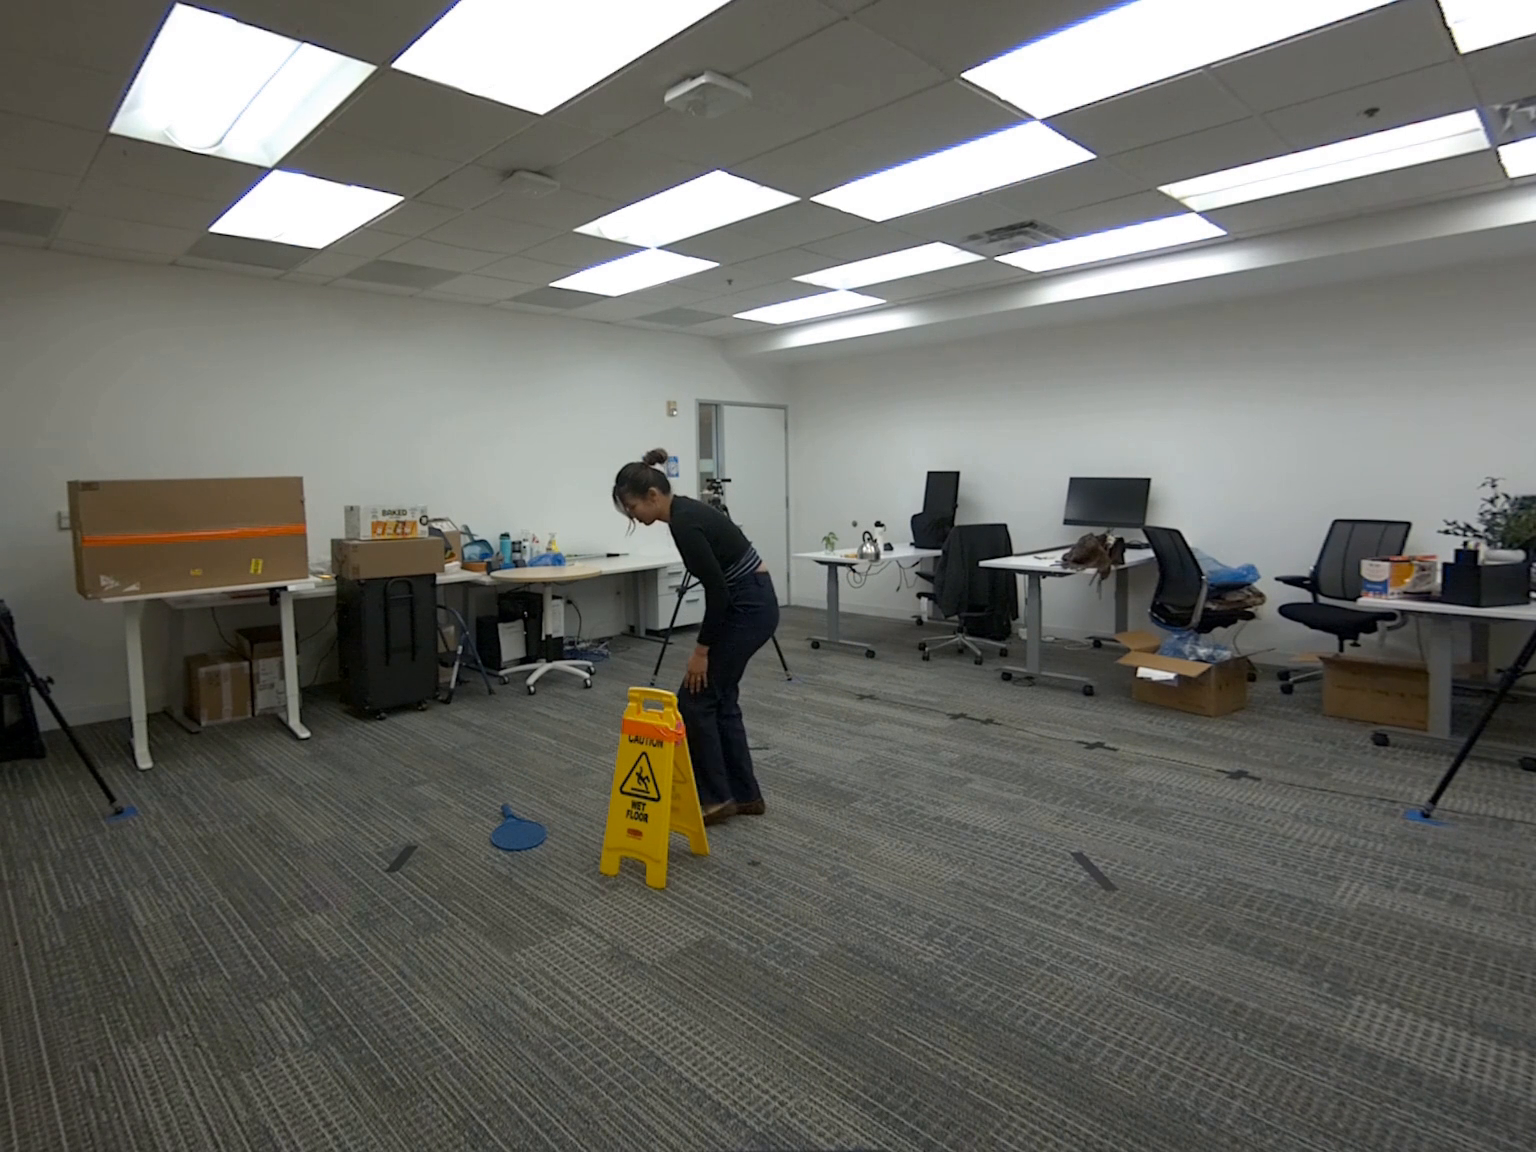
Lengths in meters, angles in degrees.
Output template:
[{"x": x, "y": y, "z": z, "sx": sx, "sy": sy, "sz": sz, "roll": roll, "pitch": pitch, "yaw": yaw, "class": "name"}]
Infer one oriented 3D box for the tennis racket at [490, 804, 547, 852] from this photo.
[{"x": -1.015, "y": 1.010, "z": 3.449, "sx": 0.209, "sy": 0.031, "sz": 0.444, "roll": -4, "pitch": 8, "yaw": -24, "class": "tennis racket"}]
